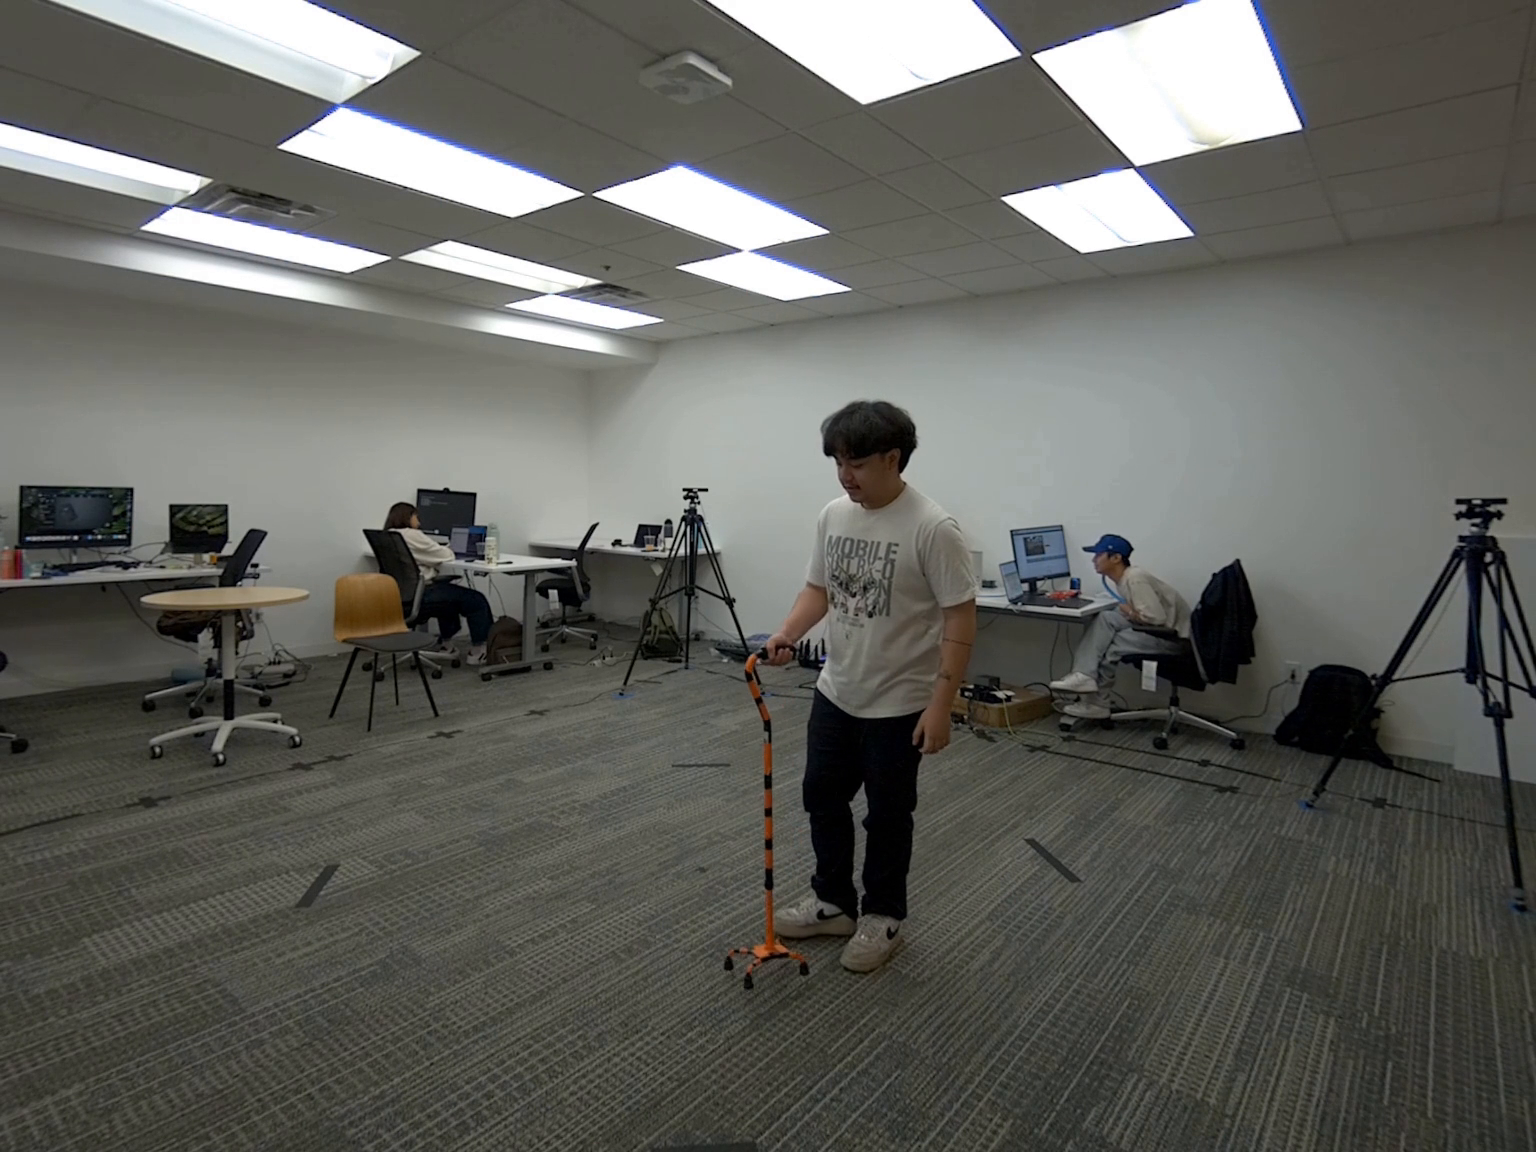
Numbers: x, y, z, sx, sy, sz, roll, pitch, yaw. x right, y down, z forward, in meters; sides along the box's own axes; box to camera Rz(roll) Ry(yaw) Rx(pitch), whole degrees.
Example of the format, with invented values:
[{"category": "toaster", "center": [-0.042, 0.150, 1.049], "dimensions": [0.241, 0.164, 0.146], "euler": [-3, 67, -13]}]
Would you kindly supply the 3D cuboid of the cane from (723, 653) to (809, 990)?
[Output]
[{"category": "cane", "center": [-0.026, 0.662, 2.429], "dimensions": [0.201, 0.910, 0.155], "euler": [0, -2, -27]}]
